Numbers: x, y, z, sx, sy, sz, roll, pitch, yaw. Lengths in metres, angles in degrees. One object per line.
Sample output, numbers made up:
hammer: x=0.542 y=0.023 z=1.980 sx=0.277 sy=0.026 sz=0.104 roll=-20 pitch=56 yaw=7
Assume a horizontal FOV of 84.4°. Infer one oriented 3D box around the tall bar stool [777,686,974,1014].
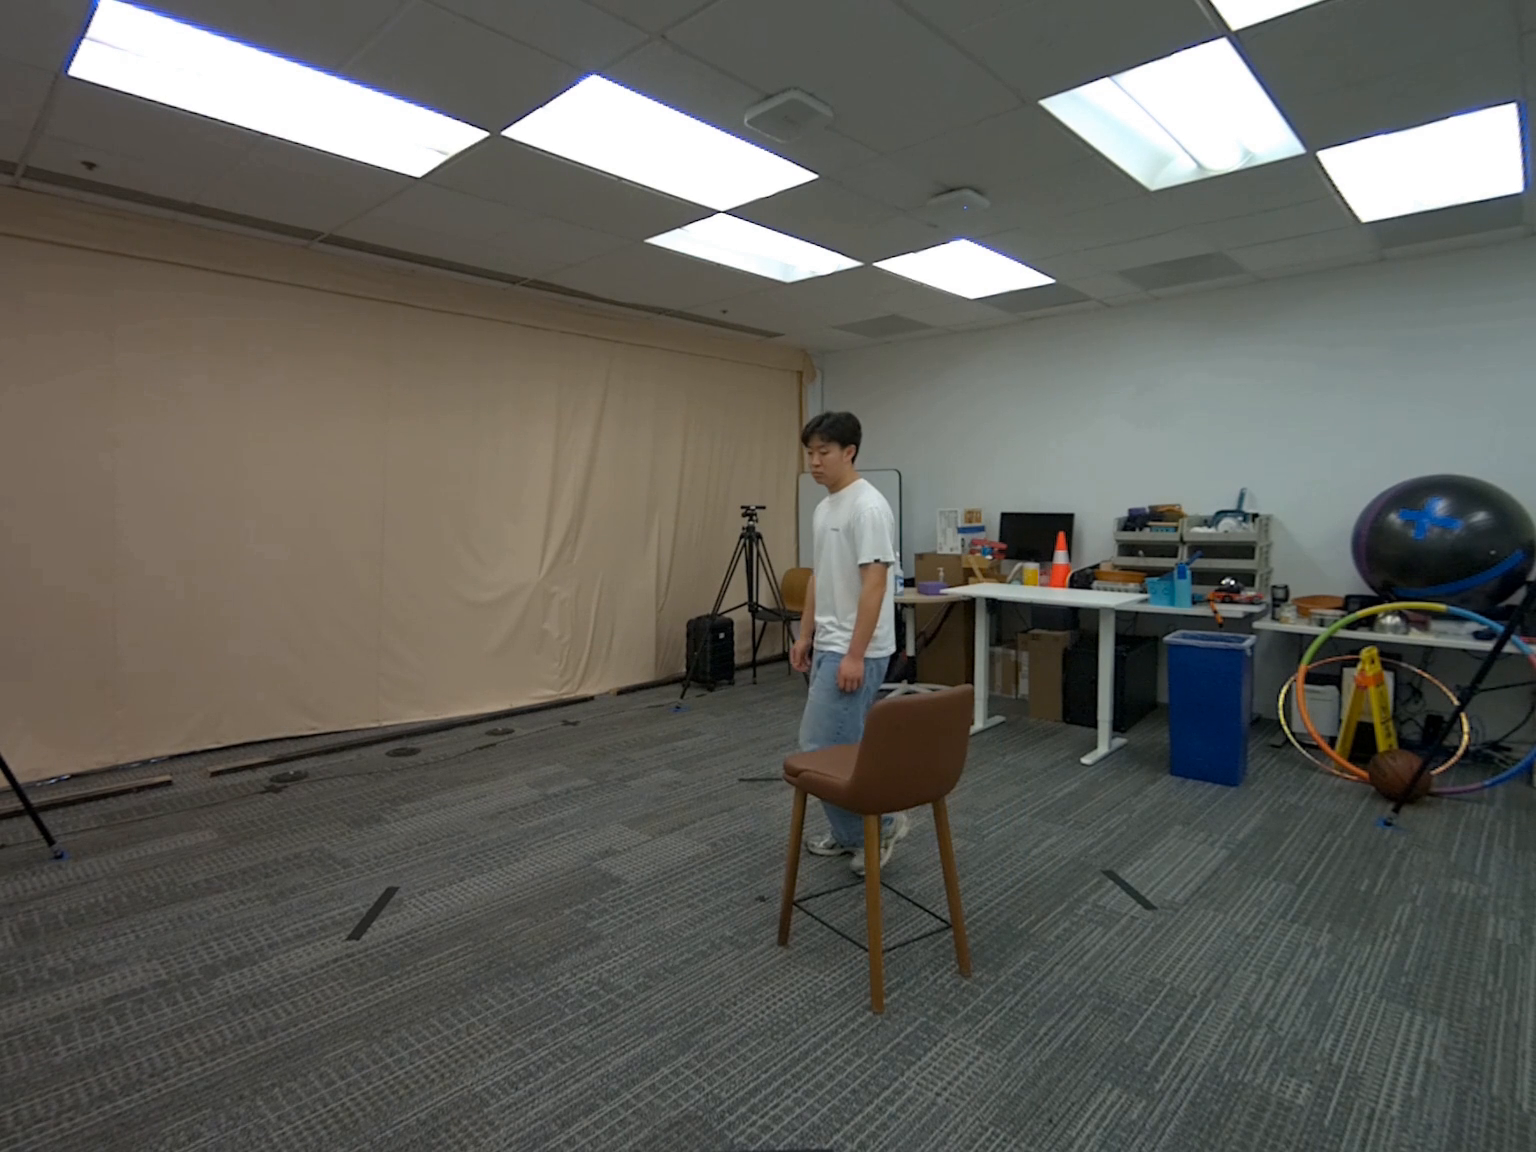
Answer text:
tall bar stool: x=0.332 y=0.741 z=2.563 sx=0.443 sy=0.887 sz=0.482 roll=-2 pitch=6 yaw=-34
